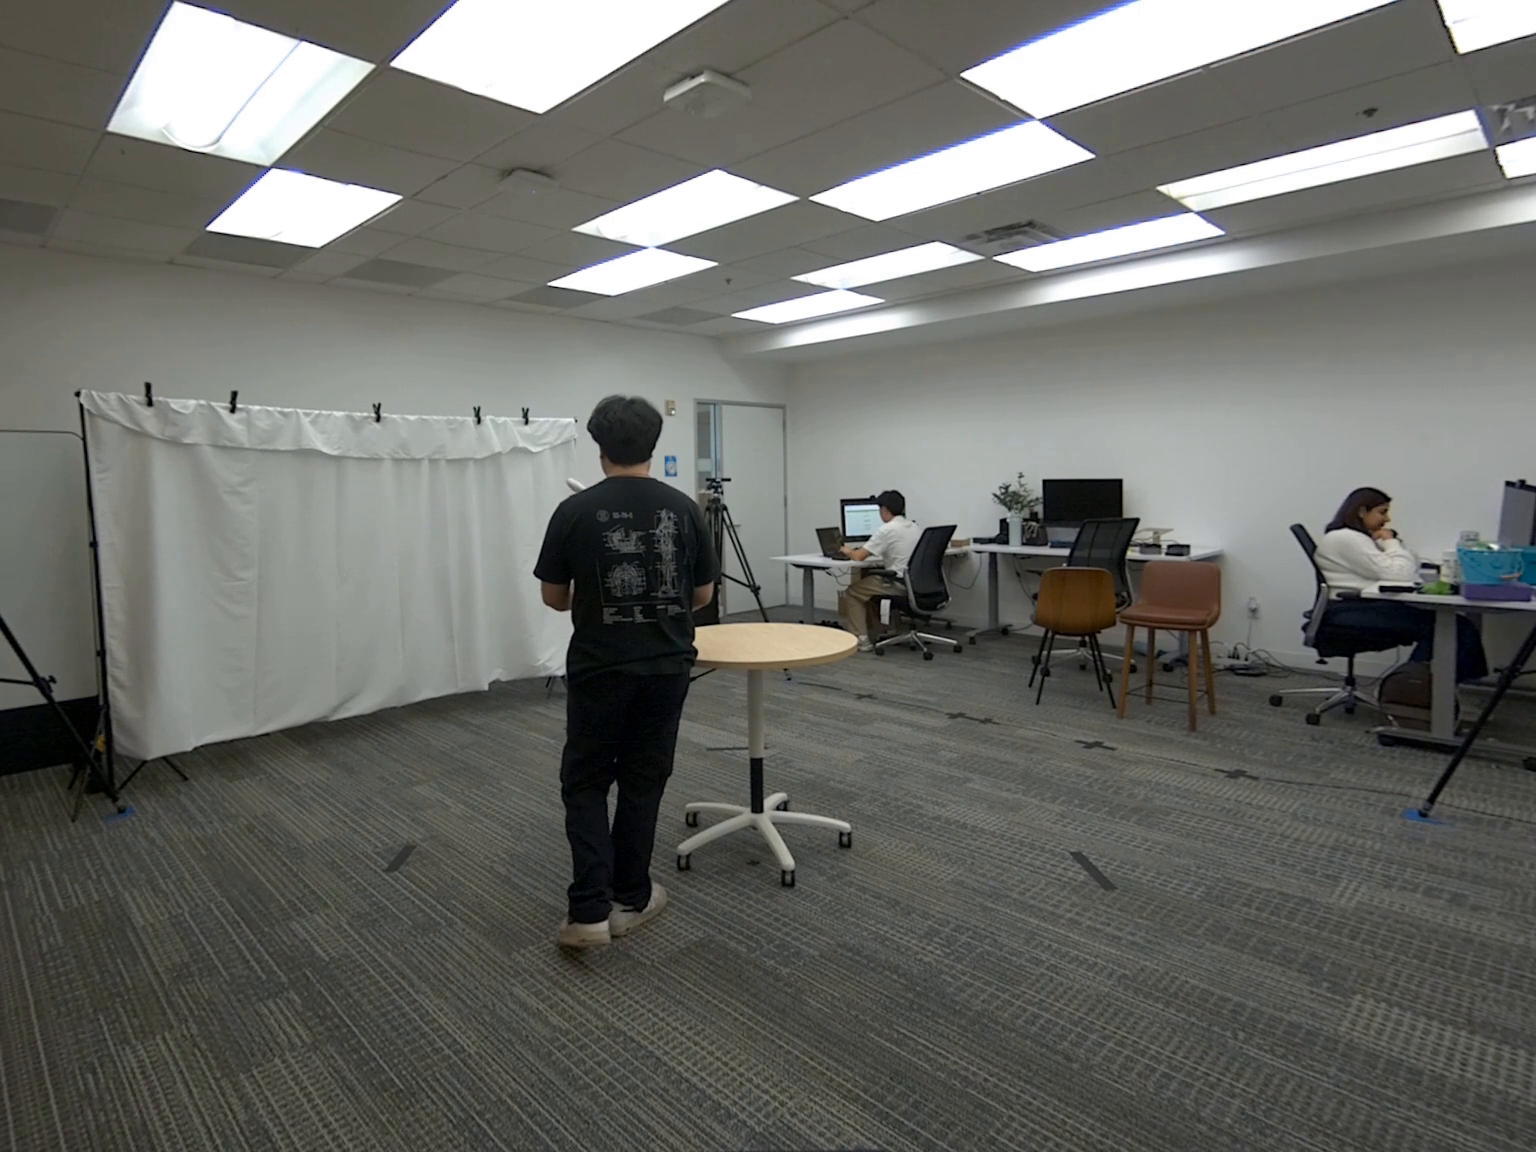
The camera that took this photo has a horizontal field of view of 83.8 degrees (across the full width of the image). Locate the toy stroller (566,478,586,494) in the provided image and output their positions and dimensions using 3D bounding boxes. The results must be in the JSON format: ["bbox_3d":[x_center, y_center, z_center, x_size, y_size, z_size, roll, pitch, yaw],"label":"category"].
[{"bbox_3d":[-0.507,-0.084,3.016,0.335,0.530,0.290,-5,12,-23],"label":"toy stroller"}]
